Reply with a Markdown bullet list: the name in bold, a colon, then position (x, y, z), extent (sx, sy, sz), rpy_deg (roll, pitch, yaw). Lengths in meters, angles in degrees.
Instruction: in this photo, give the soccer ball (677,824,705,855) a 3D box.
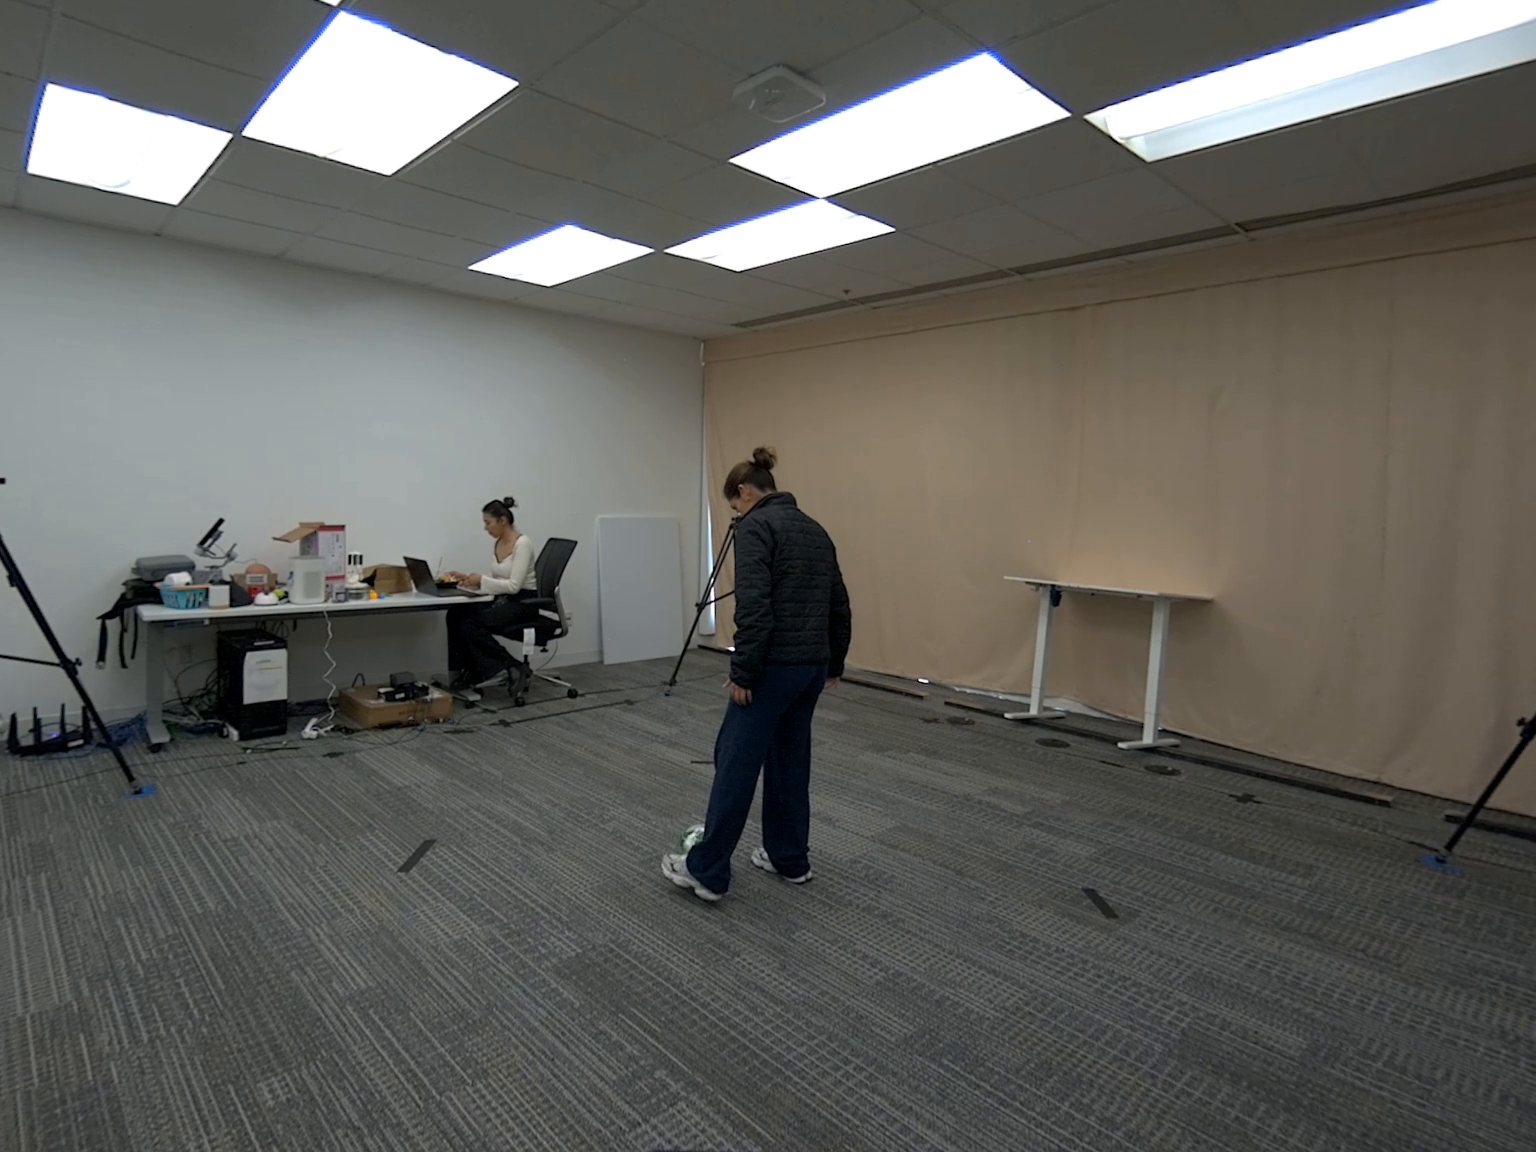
- **soccer ball**: position (-0.246, 1.006, 3.095), extent (0.187, 0.187, 0.188), rpy_deg (1, 4, -1)
